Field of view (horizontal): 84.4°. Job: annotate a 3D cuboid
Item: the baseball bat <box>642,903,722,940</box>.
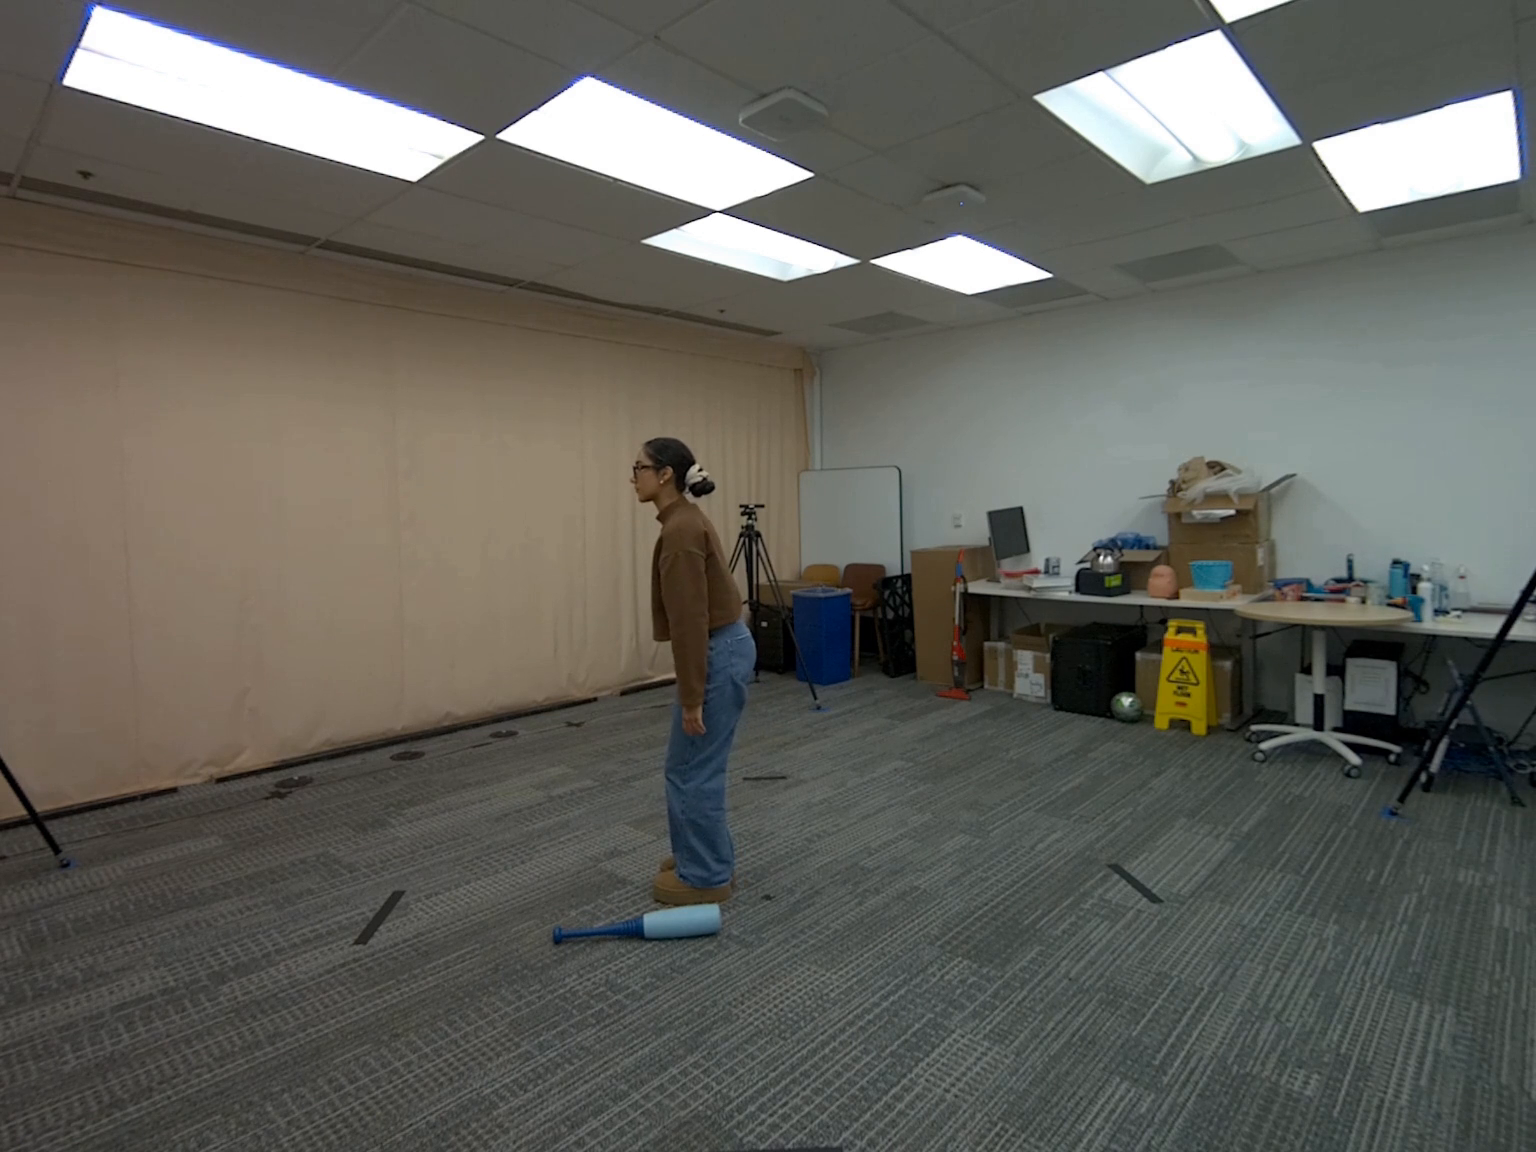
[{"bbox_3d":[-0.422,1.135,2.716,0.541,0.089,0.089,-4,4,-3],"label":"baseball bat"}]
